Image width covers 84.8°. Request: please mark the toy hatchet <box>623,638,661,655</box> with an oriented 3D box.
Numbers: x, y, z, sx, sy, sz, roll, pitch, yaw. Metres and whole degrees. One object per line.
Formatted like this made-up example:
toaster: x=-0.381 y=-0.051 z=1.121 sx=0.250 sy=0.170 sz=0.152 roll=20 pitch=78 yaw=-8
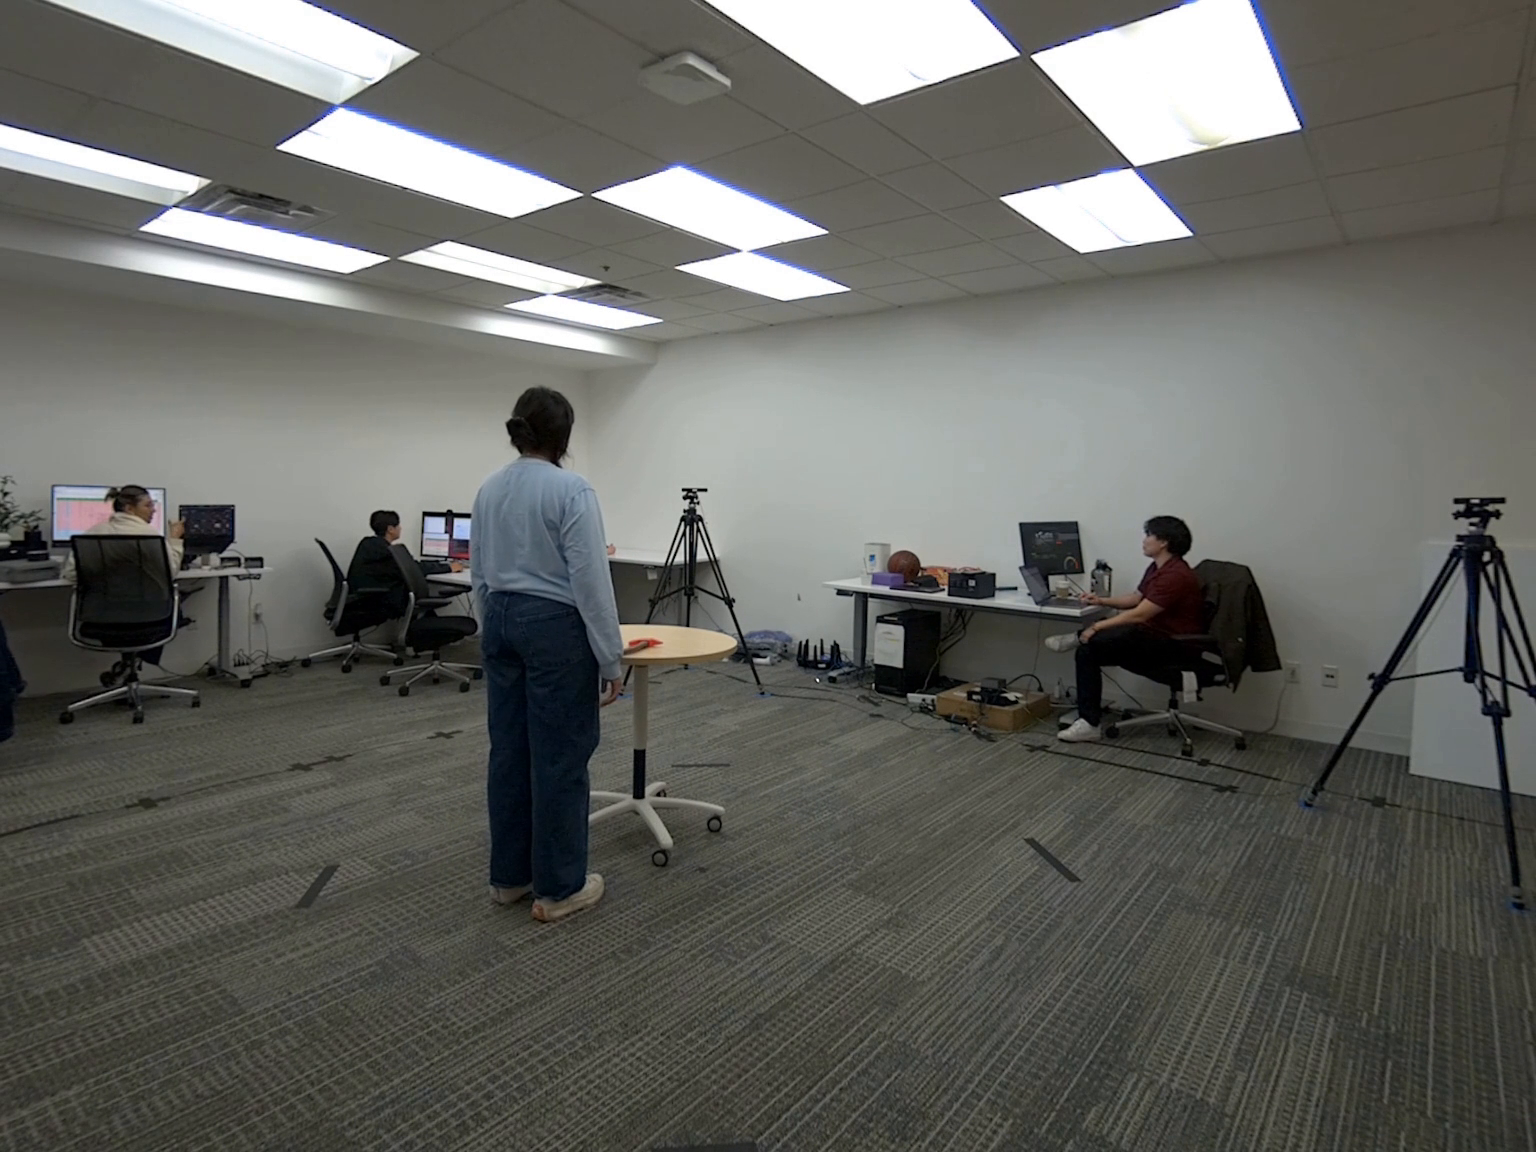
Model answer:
toy hatchet: x=-0.521 y=0.261 z=3.173 sx=0.135 sy=0.029 sz=0.263 roll=5 pitch=7 yaw=30
